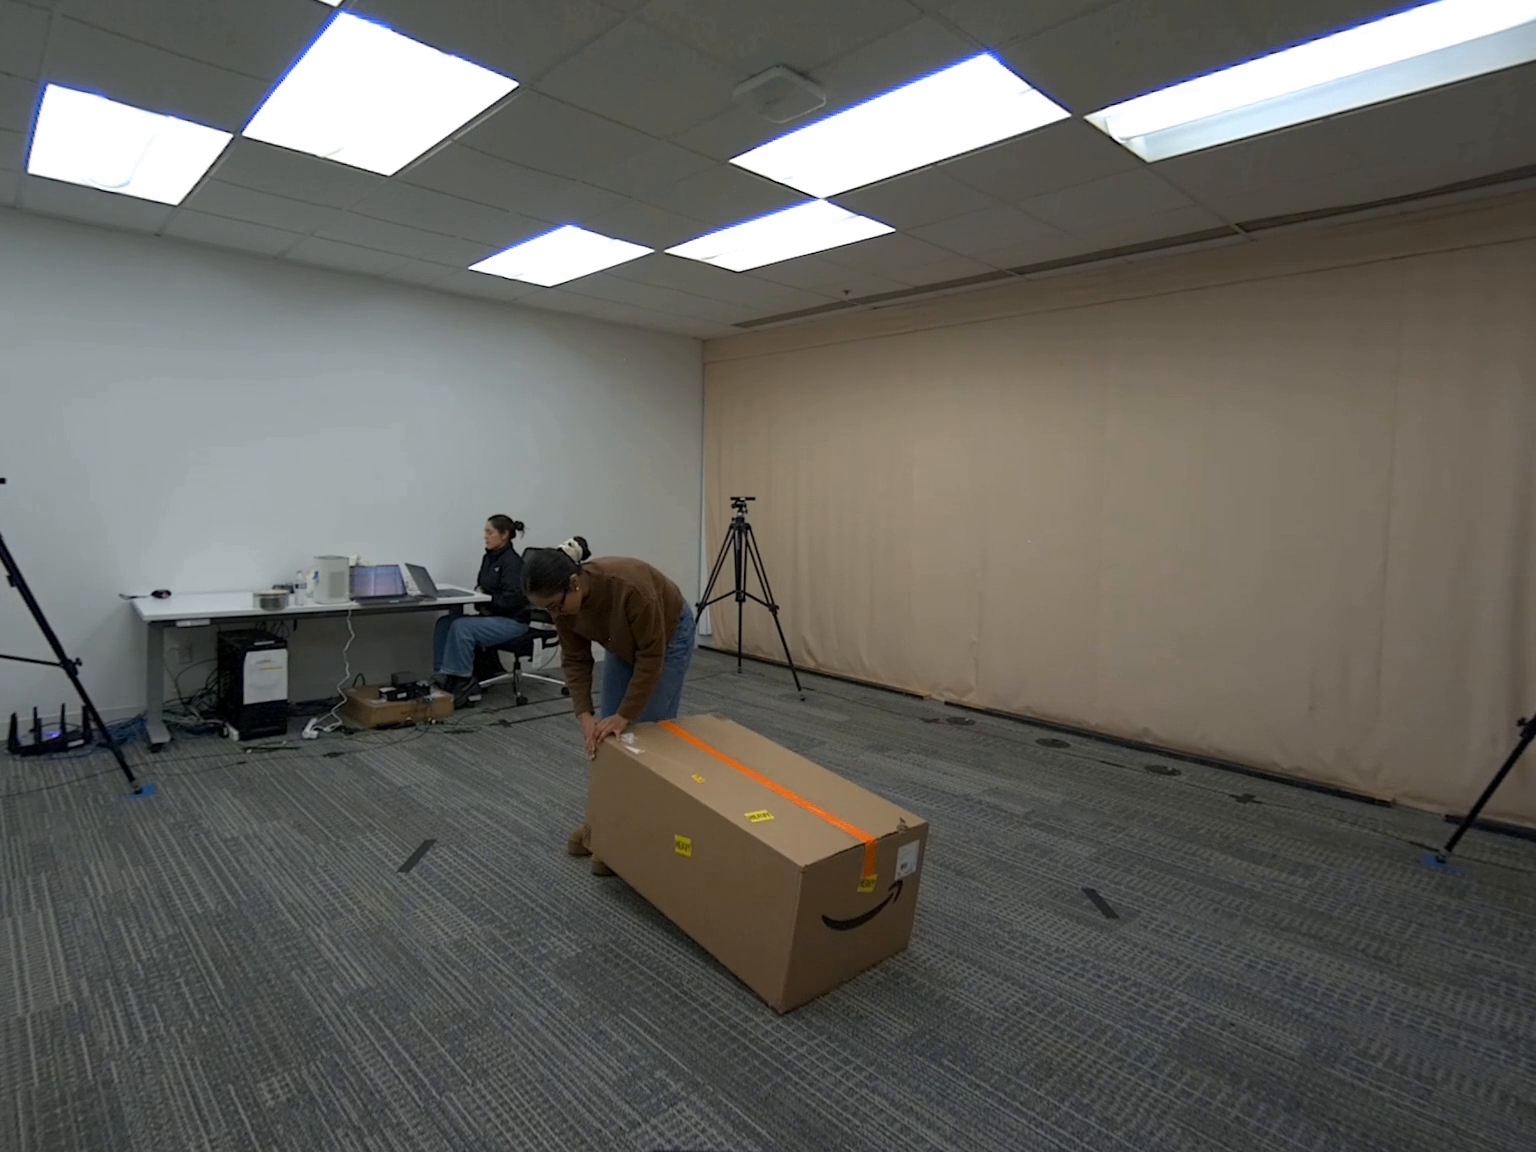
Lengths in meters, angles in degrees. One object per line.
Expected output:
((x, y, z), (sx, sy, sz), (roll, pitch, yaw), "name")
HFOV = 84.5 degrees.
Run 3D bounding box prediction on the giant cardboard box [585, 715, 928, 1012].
((-0.082, 0.863, 2.782), (0.570, 0.445, 1.057), (1, 11, -43), "giant cardboard box")
